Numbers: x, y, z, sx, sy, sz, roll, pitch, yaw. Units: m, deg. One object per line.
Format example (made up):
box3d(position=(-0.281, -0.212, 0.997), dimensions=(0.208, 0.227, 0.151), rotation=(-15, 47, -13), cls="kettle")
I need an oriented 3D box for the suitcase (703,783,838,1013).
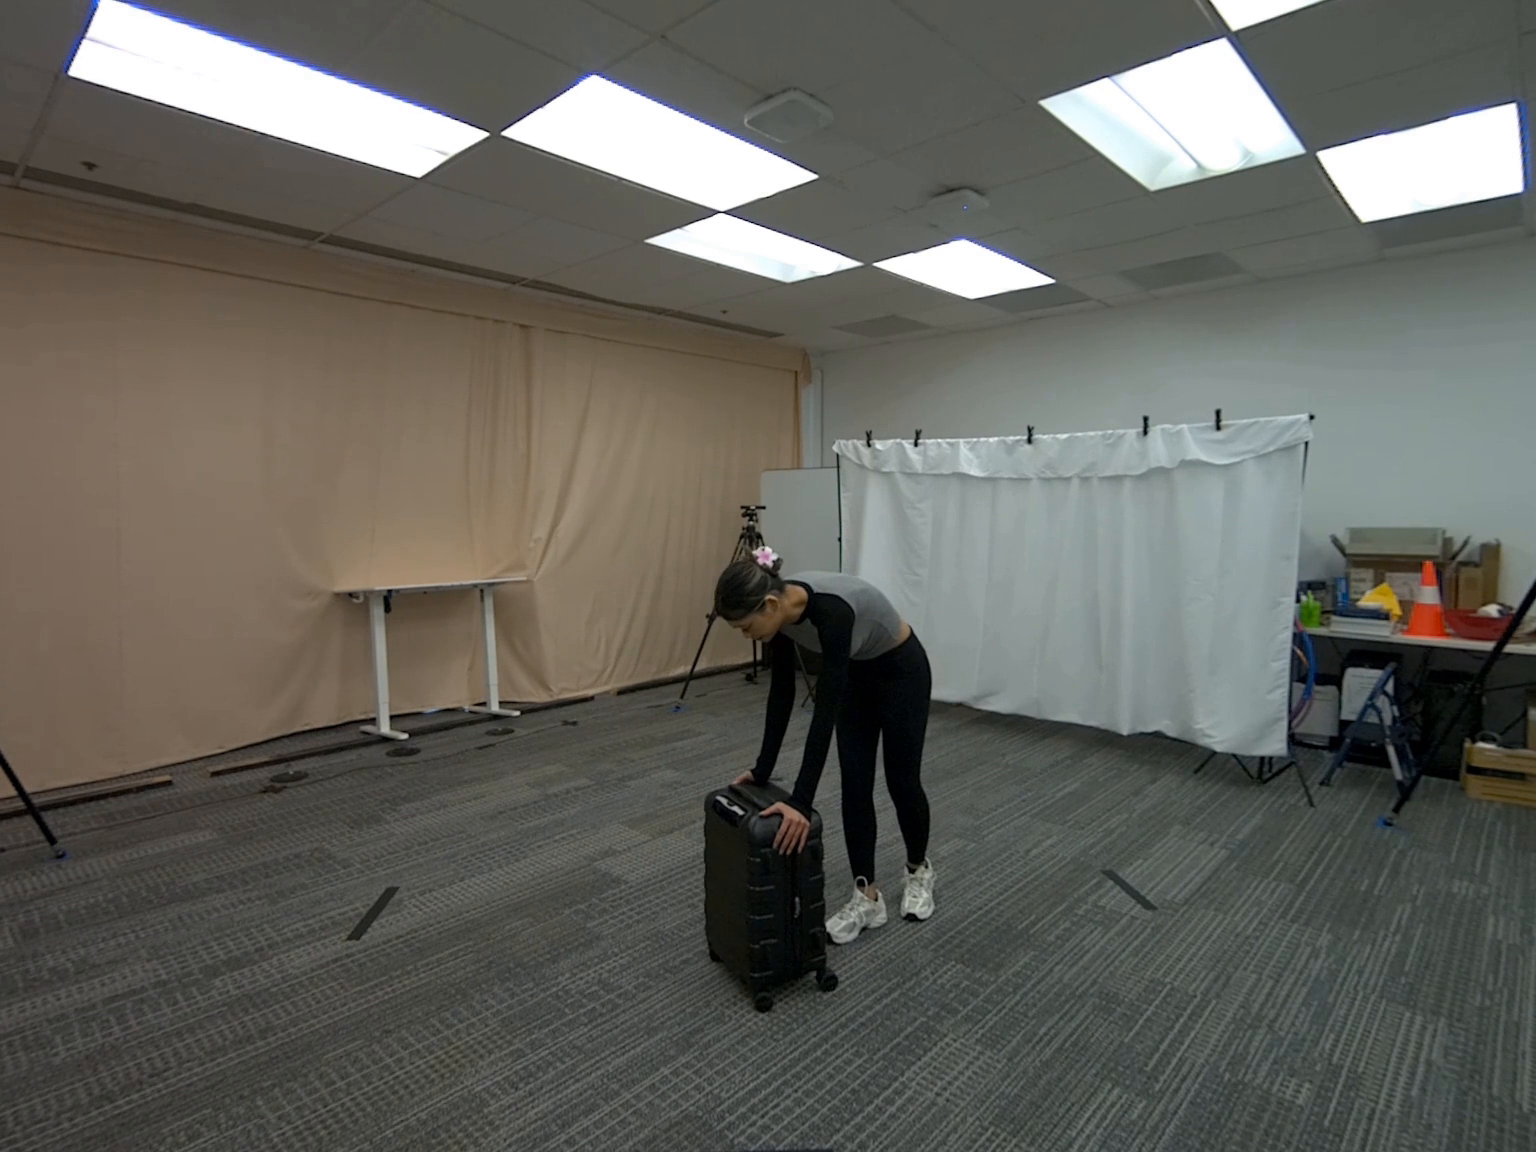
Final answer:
box3d(position=(-0.013, 0.910, 2.490), dimensions=(0.242, 0.548, 0.386), rotation=(-1, 3, -28), cls="suitcase")
